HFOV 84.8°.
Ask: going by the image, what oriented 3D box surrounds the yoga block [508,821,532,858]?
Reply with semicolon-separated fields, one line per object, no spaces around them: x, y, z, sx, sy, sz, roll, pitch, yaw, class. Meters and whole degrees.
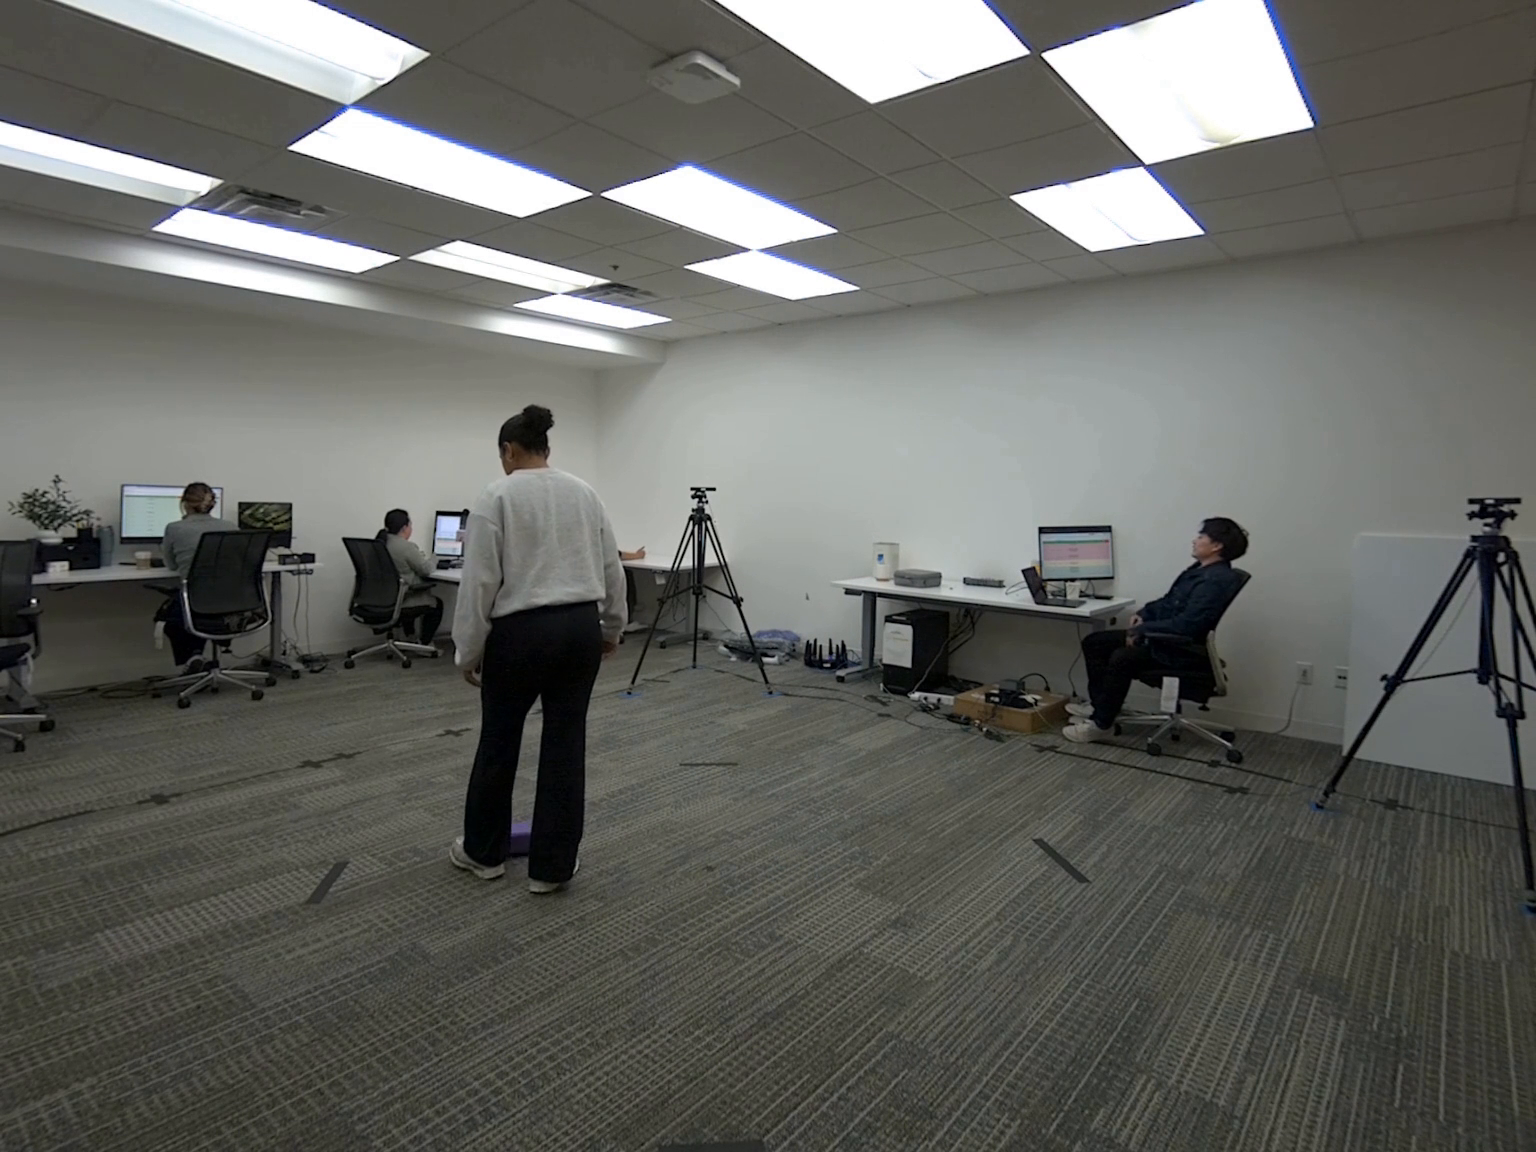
-0.968;0.990;3.216;0.224;0.076;0.152;1;0;-24;yoga block
